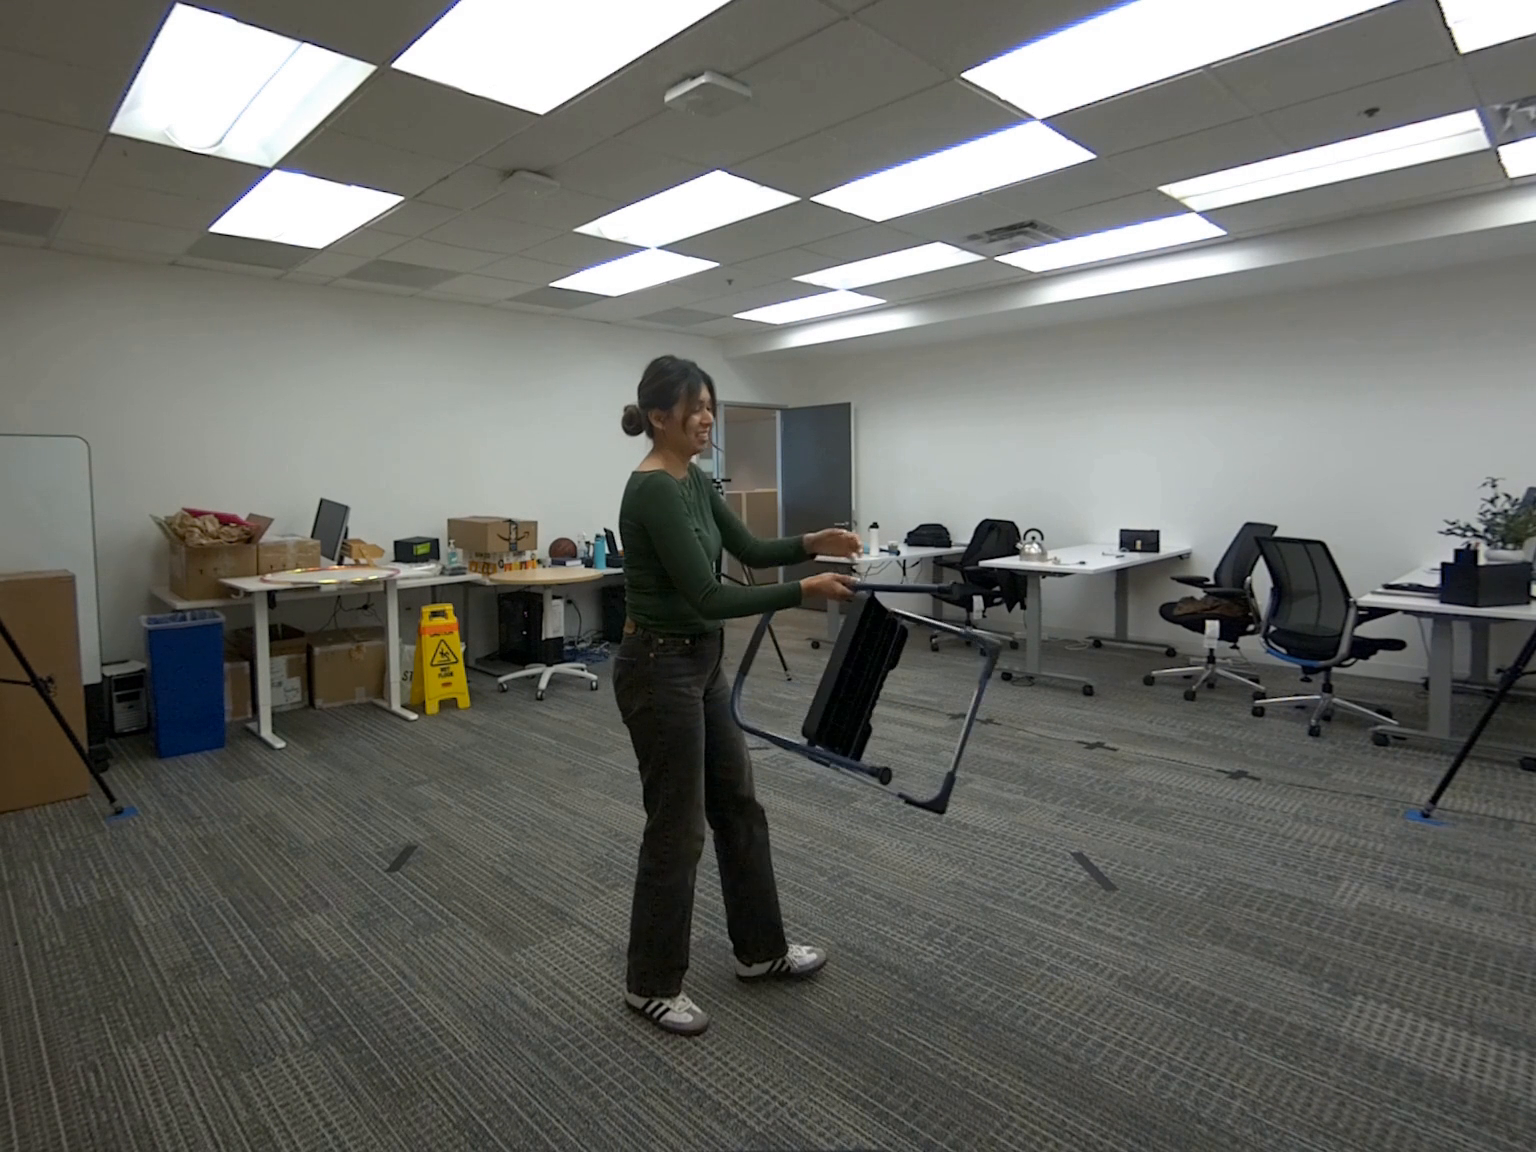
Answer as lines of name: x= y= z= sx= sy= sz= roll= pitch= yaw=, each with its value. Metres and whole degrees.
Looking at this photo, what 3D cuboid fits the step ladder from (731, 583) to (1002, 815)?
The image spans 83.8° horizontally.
step ladder: x=0.155 y=0.213 z=1.995 sx=0.626 sy=0.433 sz=0.335 roll=13 pitch=-19 yaw=39
